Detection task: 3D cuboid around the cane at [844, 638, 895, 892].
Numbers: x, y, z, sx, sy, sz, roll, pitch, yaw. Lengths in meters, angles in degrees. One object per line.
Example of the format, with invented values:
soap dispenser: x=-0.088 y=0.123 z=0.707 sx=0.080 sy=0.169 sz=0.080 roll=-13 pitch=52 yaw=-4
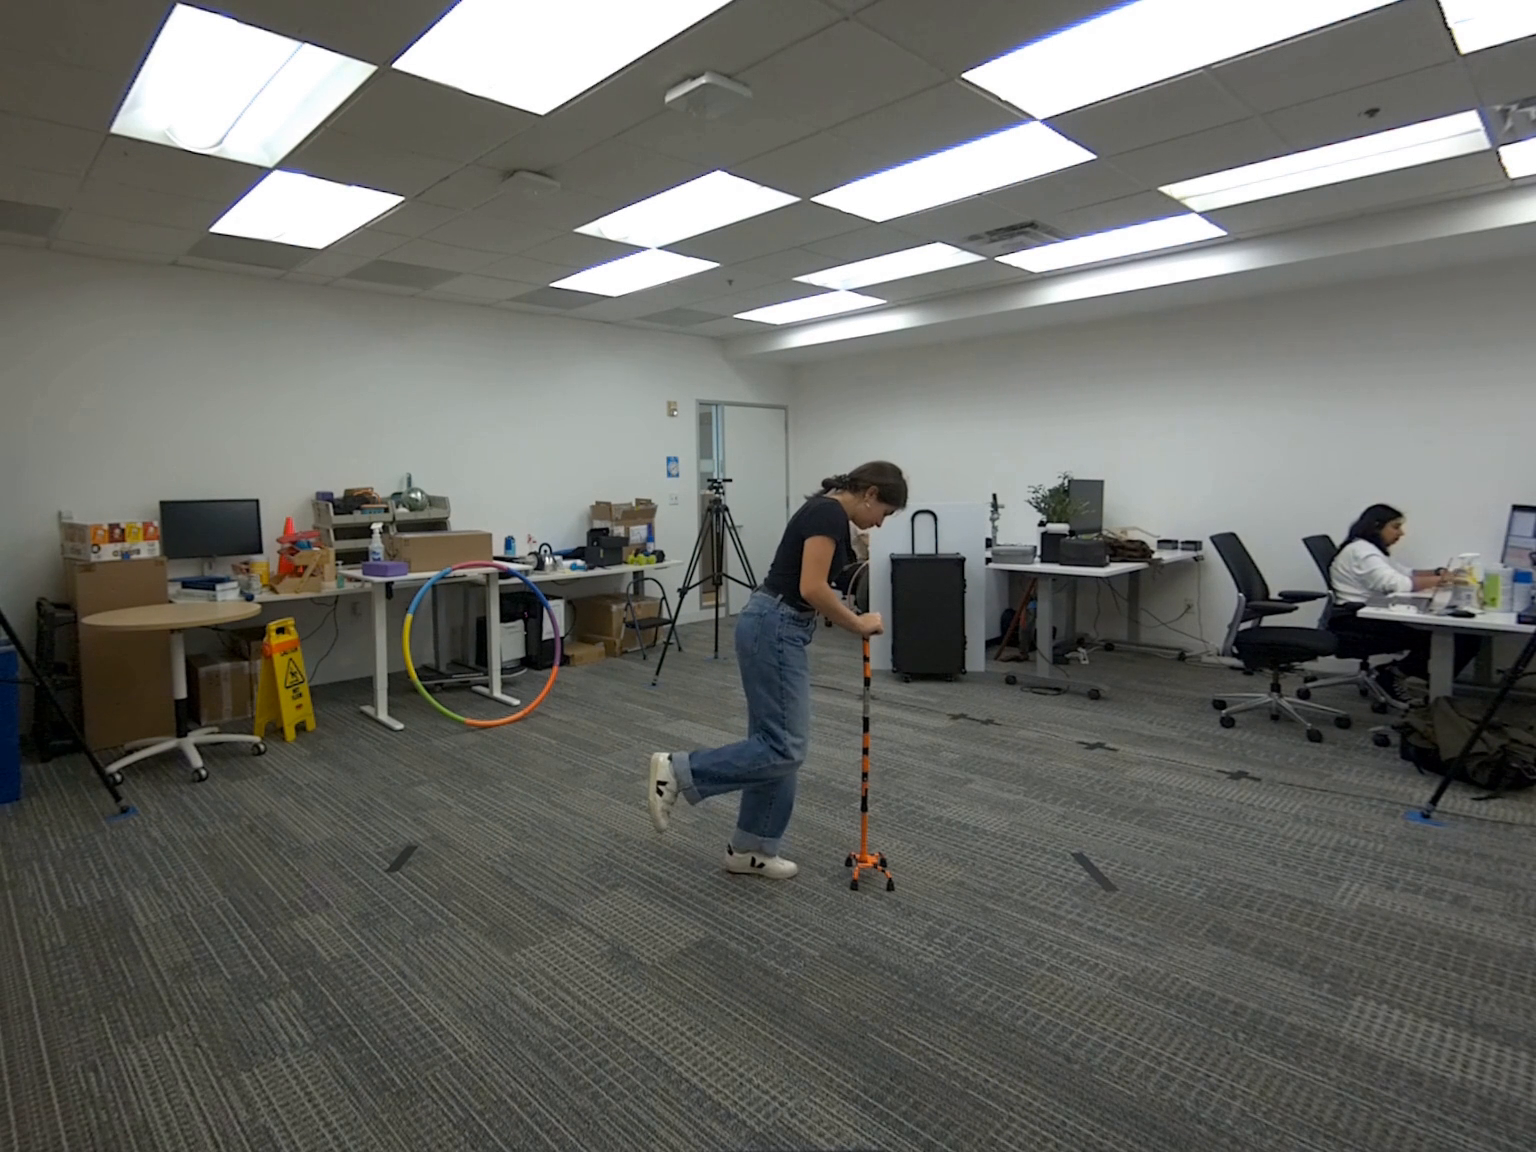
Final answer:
cane: x=0.353 y=0.593 z=2.954 sx=0.152 sy=0.905 sz=0.207 roll=0 pitch=3 yaw=1
